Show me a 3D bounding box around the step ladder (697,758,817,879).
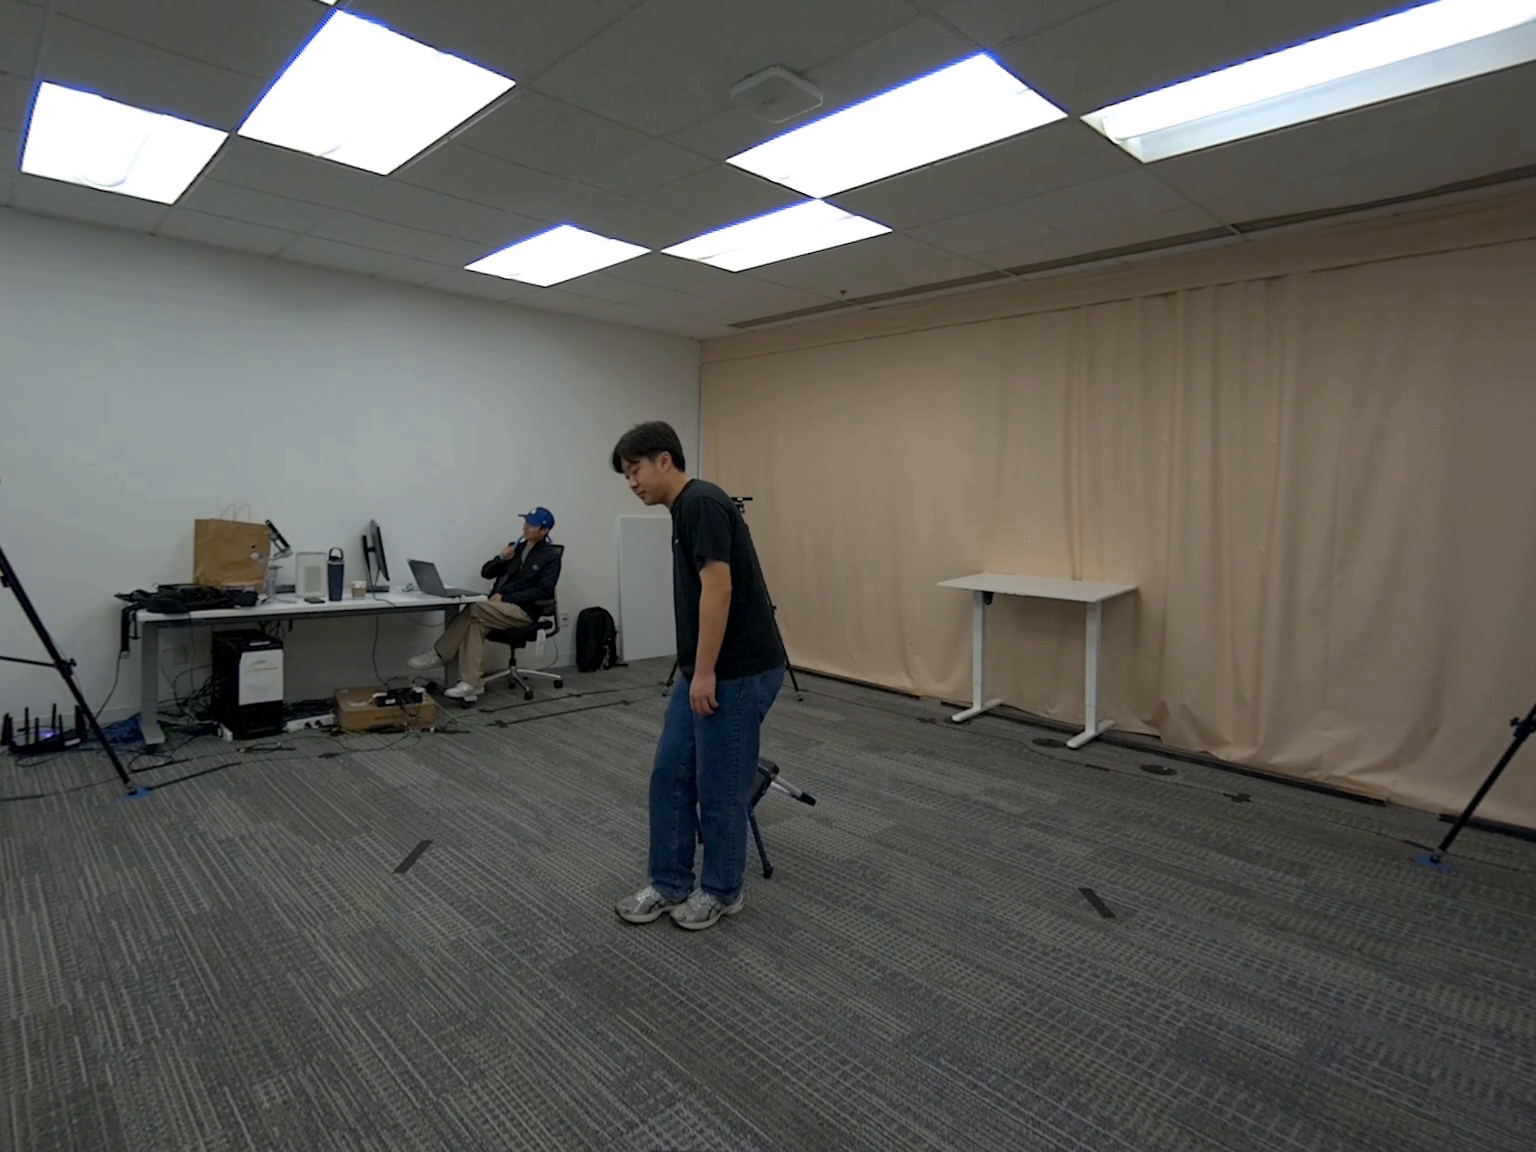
[{"bbox_3d":[-0.186,0.758,3.181,0.442,0.590,0.349,6,47,49],"label":"step ladder"}]
